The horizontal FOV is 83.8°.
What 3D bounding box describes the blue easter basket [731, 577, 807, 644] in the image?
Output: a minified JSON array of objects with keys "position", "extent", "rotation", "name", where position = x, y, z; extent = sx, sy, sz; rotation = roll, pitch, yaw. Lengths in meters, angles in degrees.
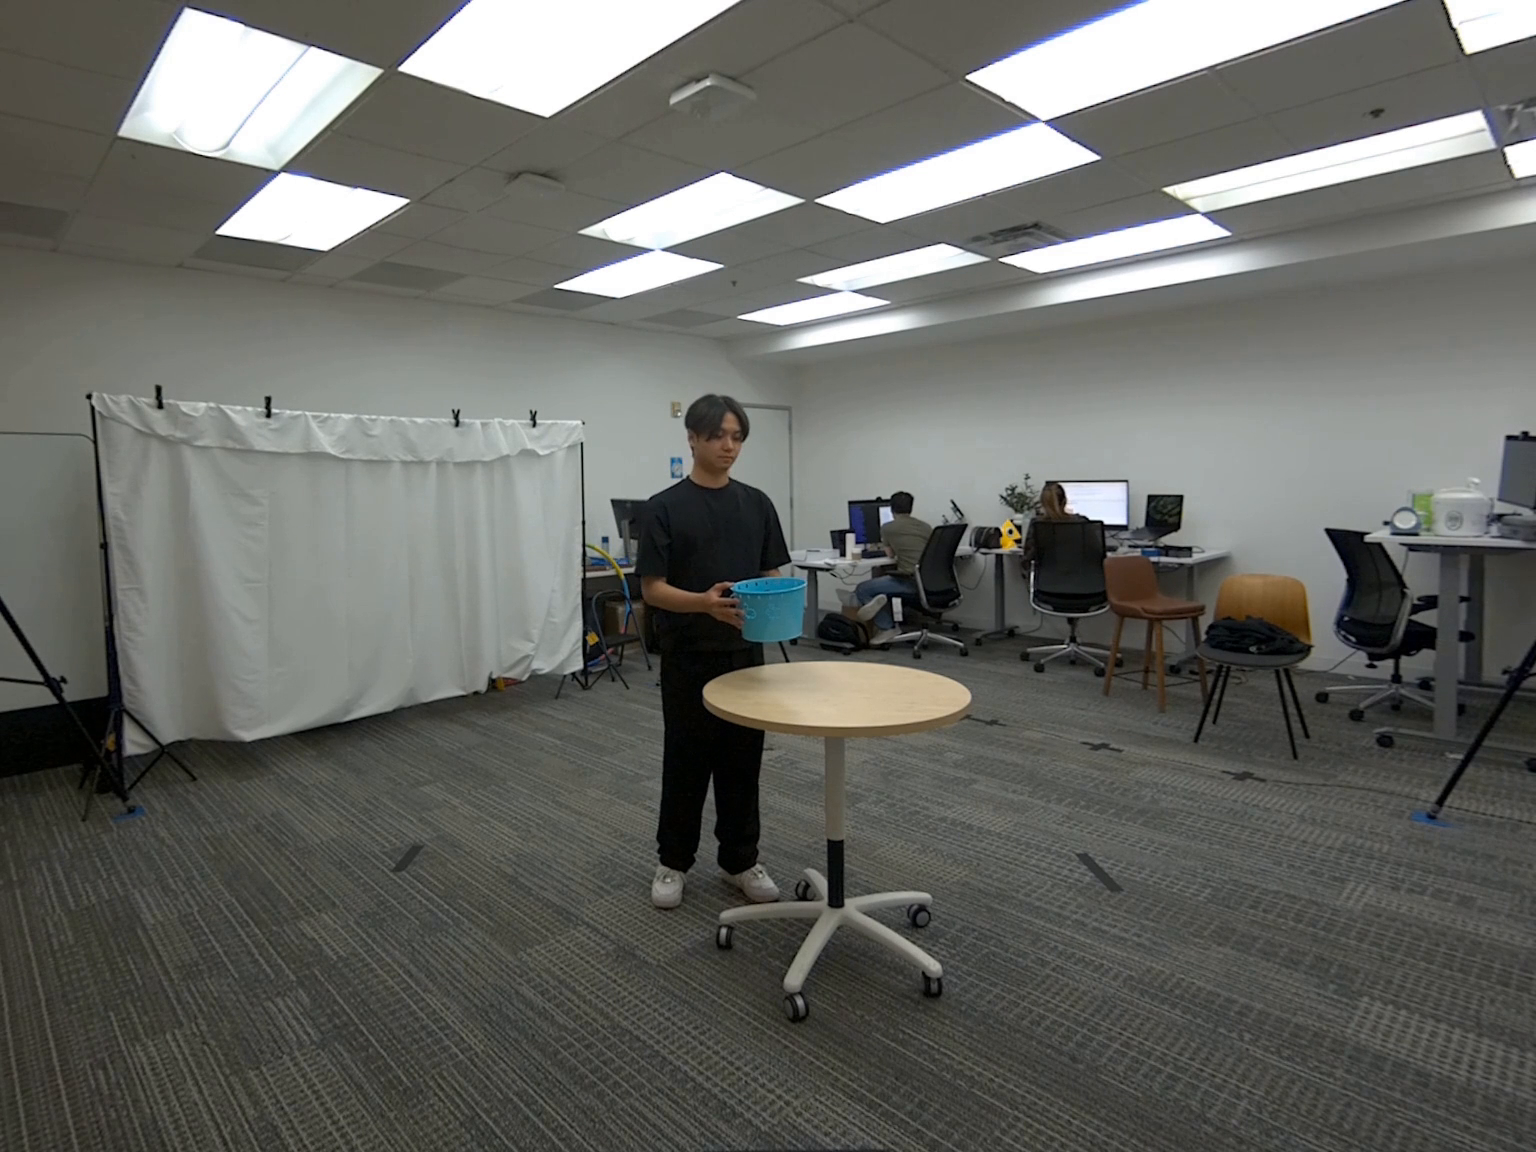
[{"position":[-0.003,0.102,2.557],"extent":[0.243,0.154,0.246],"rotation":[-3,9,-1],"name":"blue easter basket"}]
